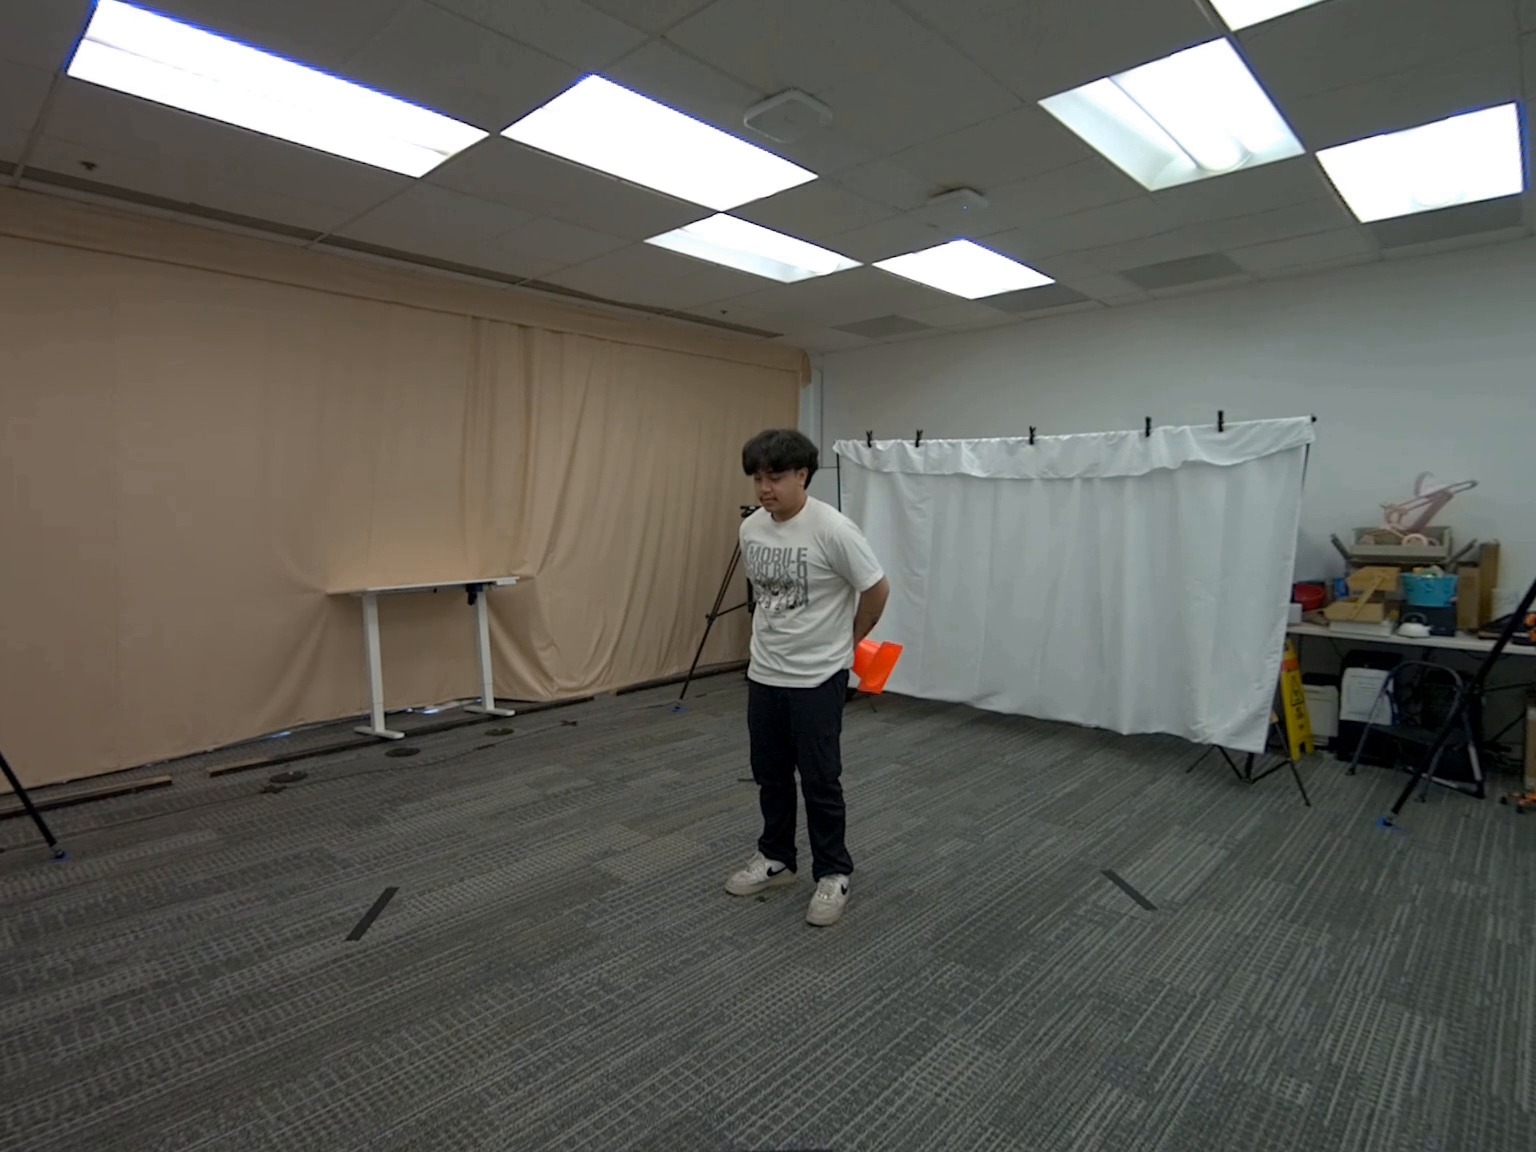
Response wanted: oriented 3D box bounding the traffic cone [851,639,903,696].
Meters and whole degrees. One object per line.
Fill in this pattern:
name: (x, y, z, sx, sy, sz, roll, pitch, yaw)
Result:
traffic cone: (0.275, 0.249, 3.135, 0.397, 0.203, 0.198, 31, 7, 36)
